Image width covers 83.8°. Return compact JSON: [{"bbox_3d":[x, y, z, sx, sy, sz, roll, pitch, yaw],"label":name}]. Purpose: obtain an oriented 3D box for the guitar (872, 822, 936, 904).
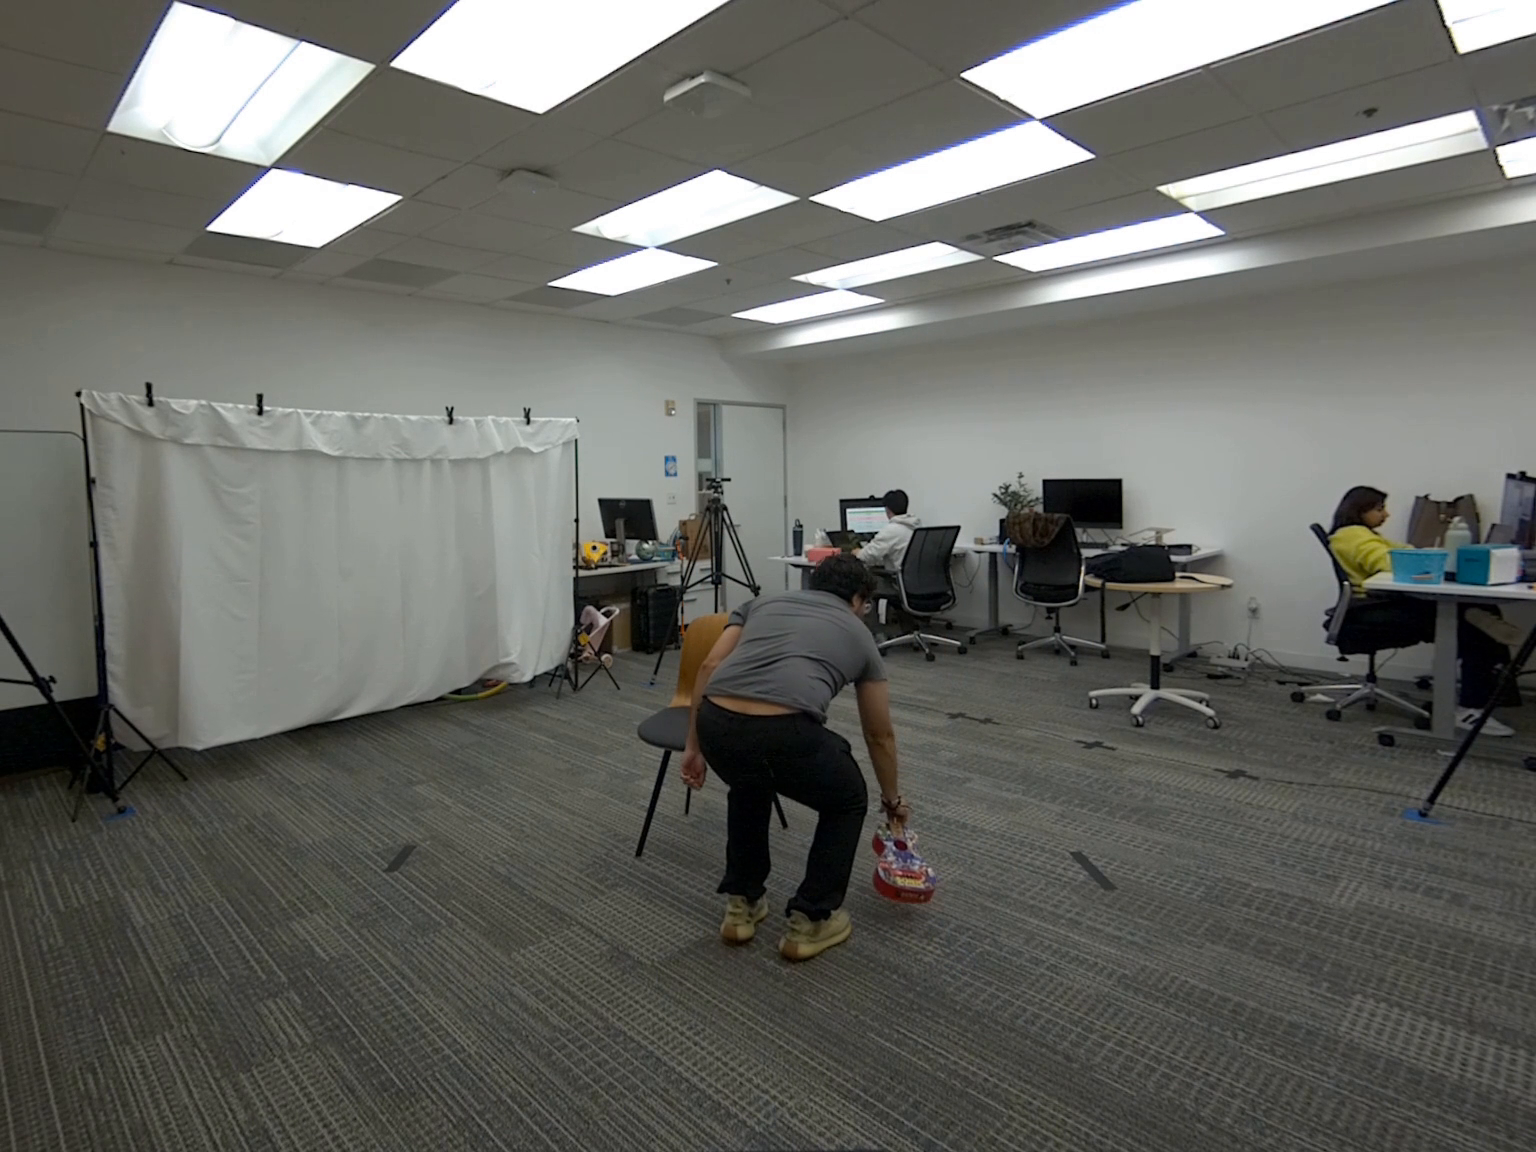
[{"bbox_3d":[0.457,0.869,2.831,0.193,0.069,0.505,11,29,0],"label":"guitar"}]
